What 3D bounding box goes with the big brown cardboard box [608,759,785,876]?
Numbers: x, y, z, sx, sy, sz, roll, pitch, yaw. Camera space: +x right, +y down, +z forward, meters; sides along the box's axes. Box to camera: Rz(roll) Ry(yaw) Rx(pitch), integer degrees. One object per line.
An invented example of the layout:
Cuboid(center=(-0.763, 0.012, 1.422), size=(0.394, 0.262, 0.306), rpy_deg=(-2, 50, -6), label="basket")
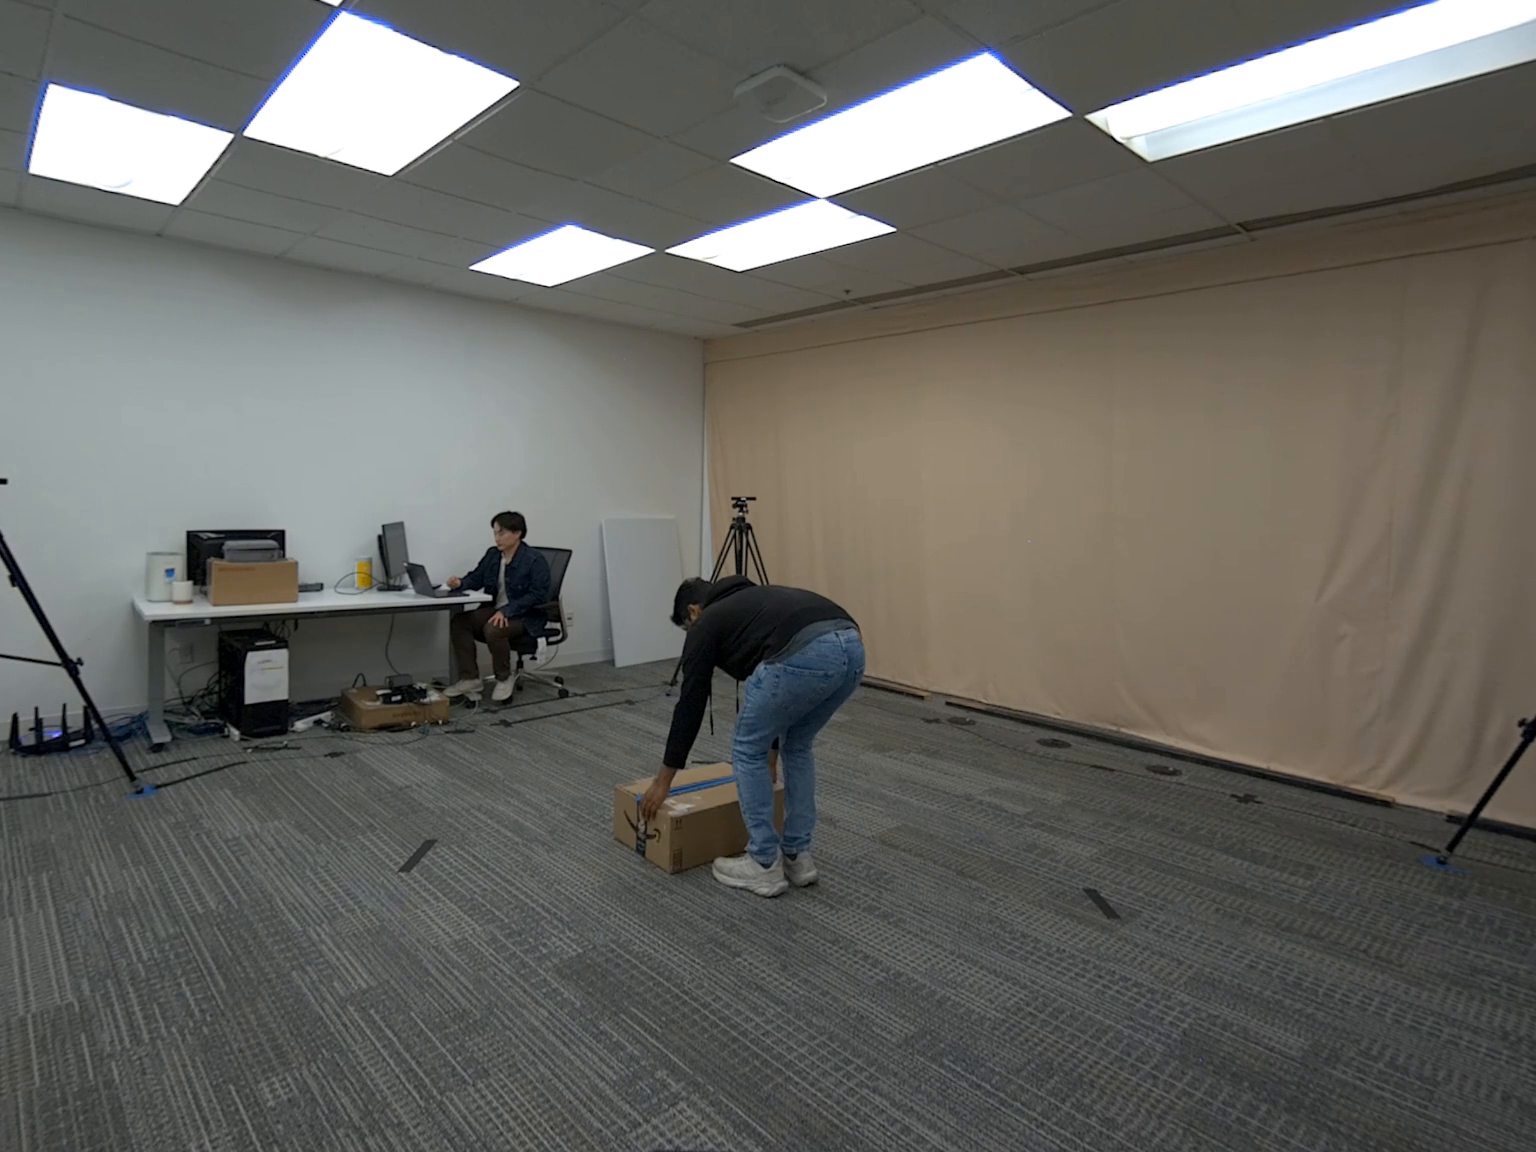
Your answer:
Cuboid(center=(-0.279, 0.951, 3.420), size=(0.575, 0.233, 0.428), rpy_deg=(-1, 5, -40), label="big brown cardboard box")
